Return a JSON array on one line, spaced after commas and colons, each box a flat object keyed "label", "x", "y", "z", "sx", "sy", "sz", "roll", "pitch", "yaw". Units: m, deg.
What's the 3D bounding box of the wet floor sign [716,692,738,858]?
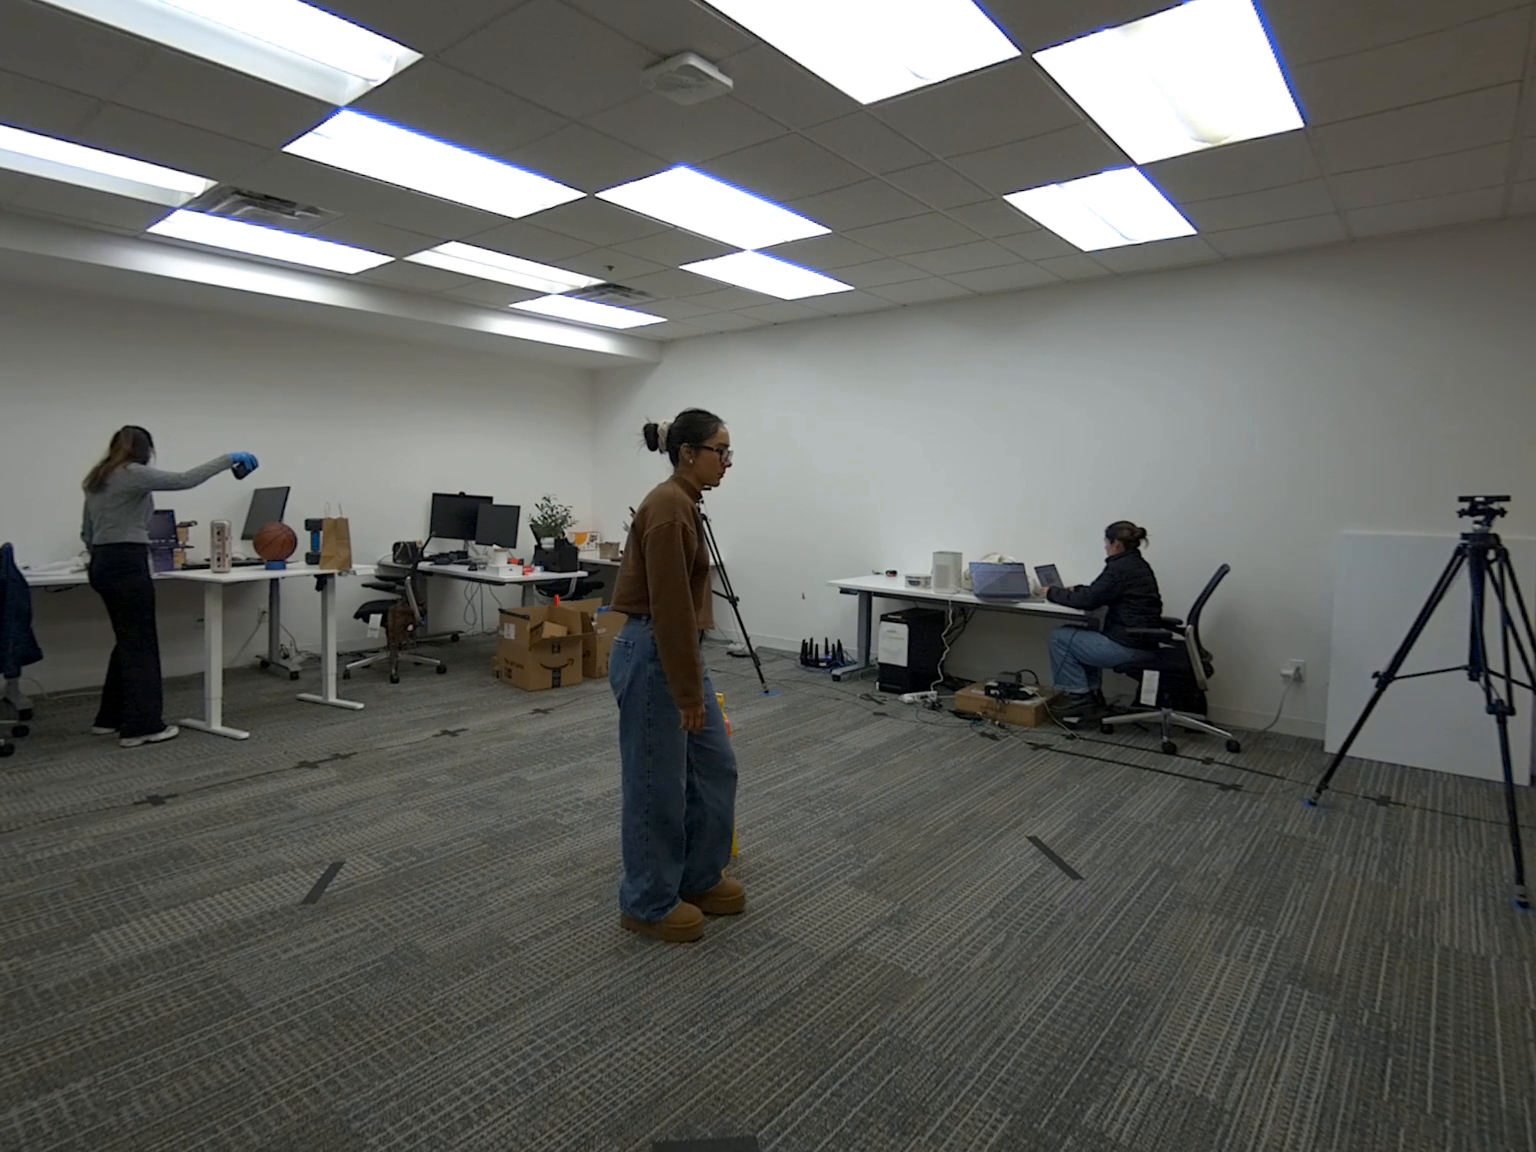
[{"label": "wet floor sign", "x": -0.278, "y": 0.737, "z": 3.097, "sx": 0.285, "sy": 0.644, "sz": 0.287, "roll": 0, "pitch": 4, "yaw": 9}]
